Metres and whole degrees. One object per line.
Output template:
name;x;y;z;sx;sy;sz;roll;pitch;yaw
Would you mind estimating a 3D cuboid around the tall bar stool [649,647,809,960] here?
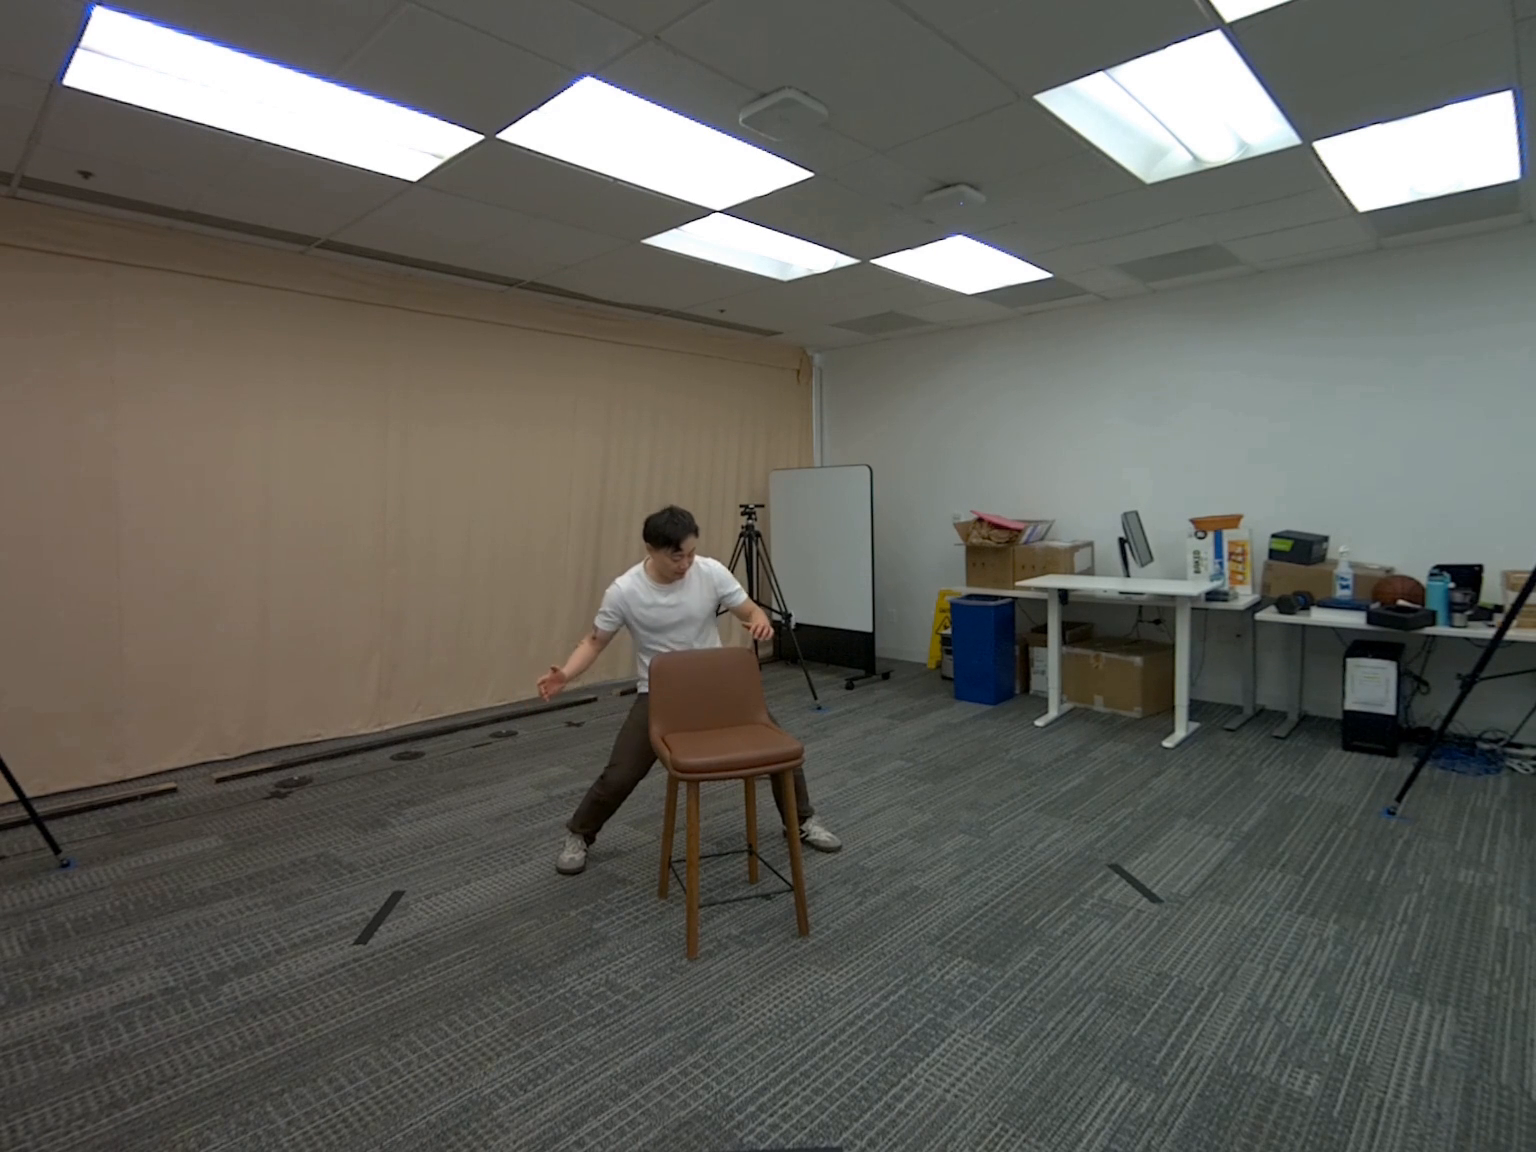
tall bar stool;-0.145;0.713;2.843;0.447;0.889;0.477;-2;1;-20
